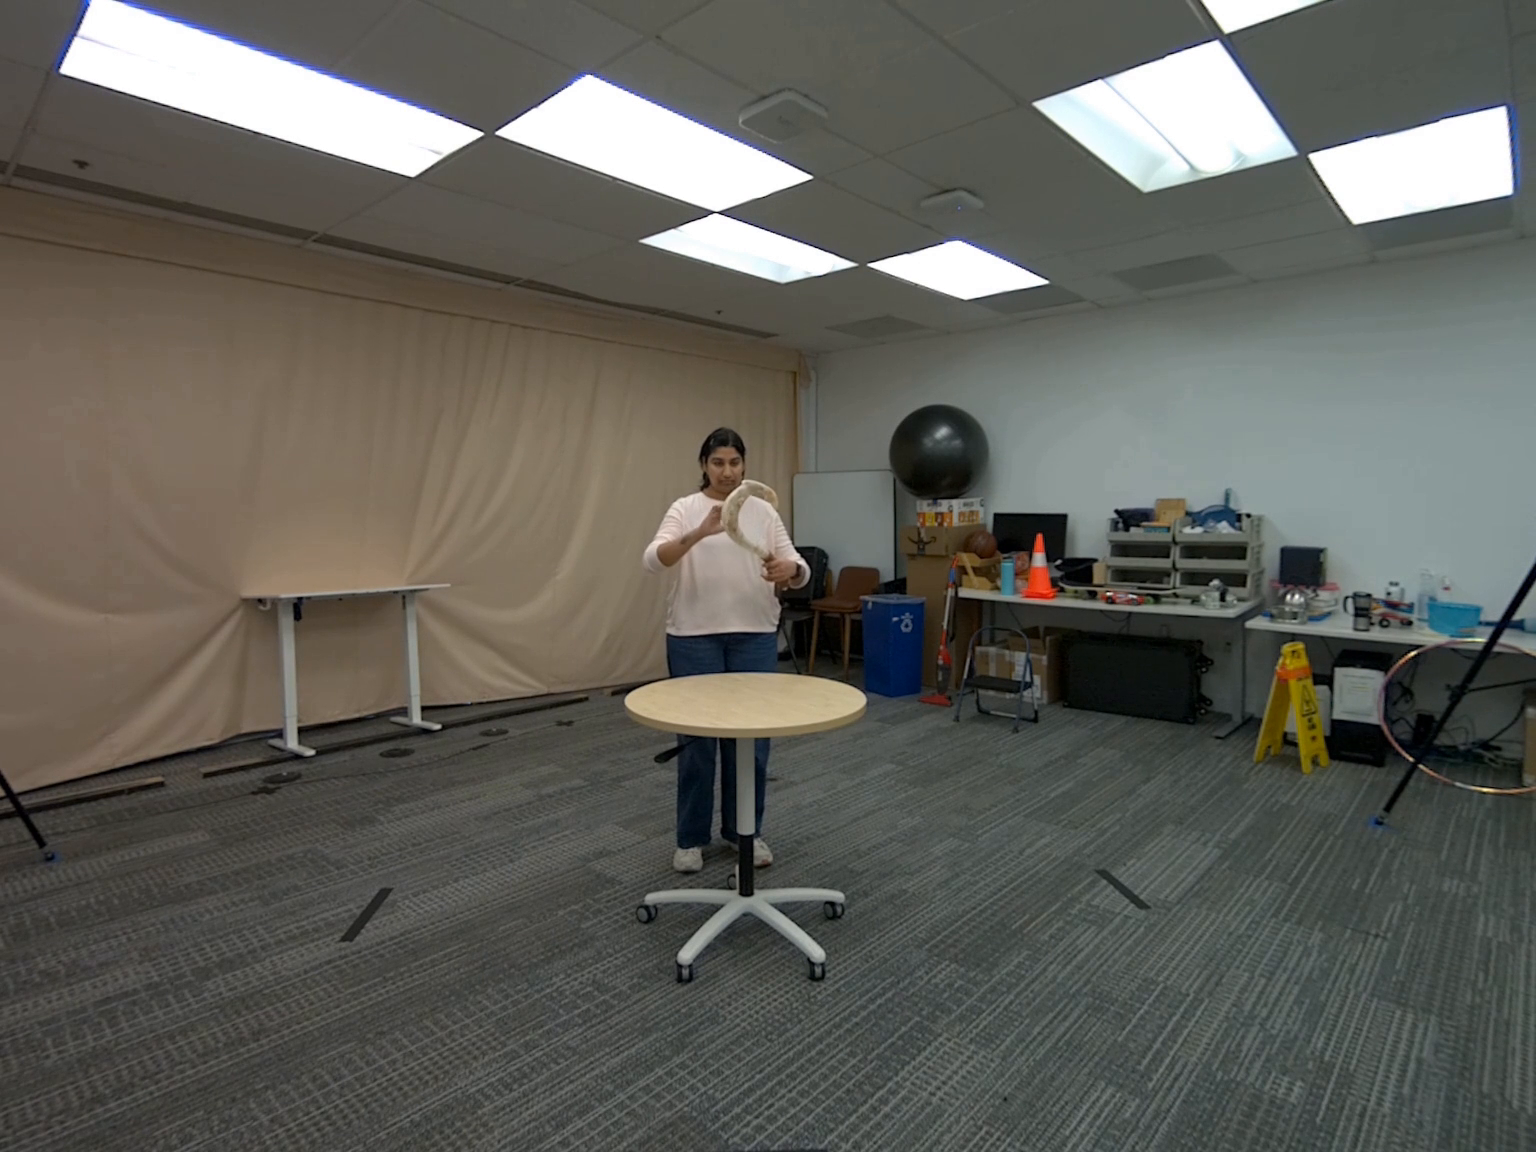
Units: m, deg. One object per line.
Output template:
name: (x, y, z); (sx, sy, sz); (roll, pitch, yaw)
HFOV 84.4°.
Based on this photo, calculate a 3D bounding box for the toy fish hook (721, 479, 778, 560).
toy fish hook: (-0.008, -0.134, 2.968); (0.050, 0.224, 0.490); (36, -15, 43)
